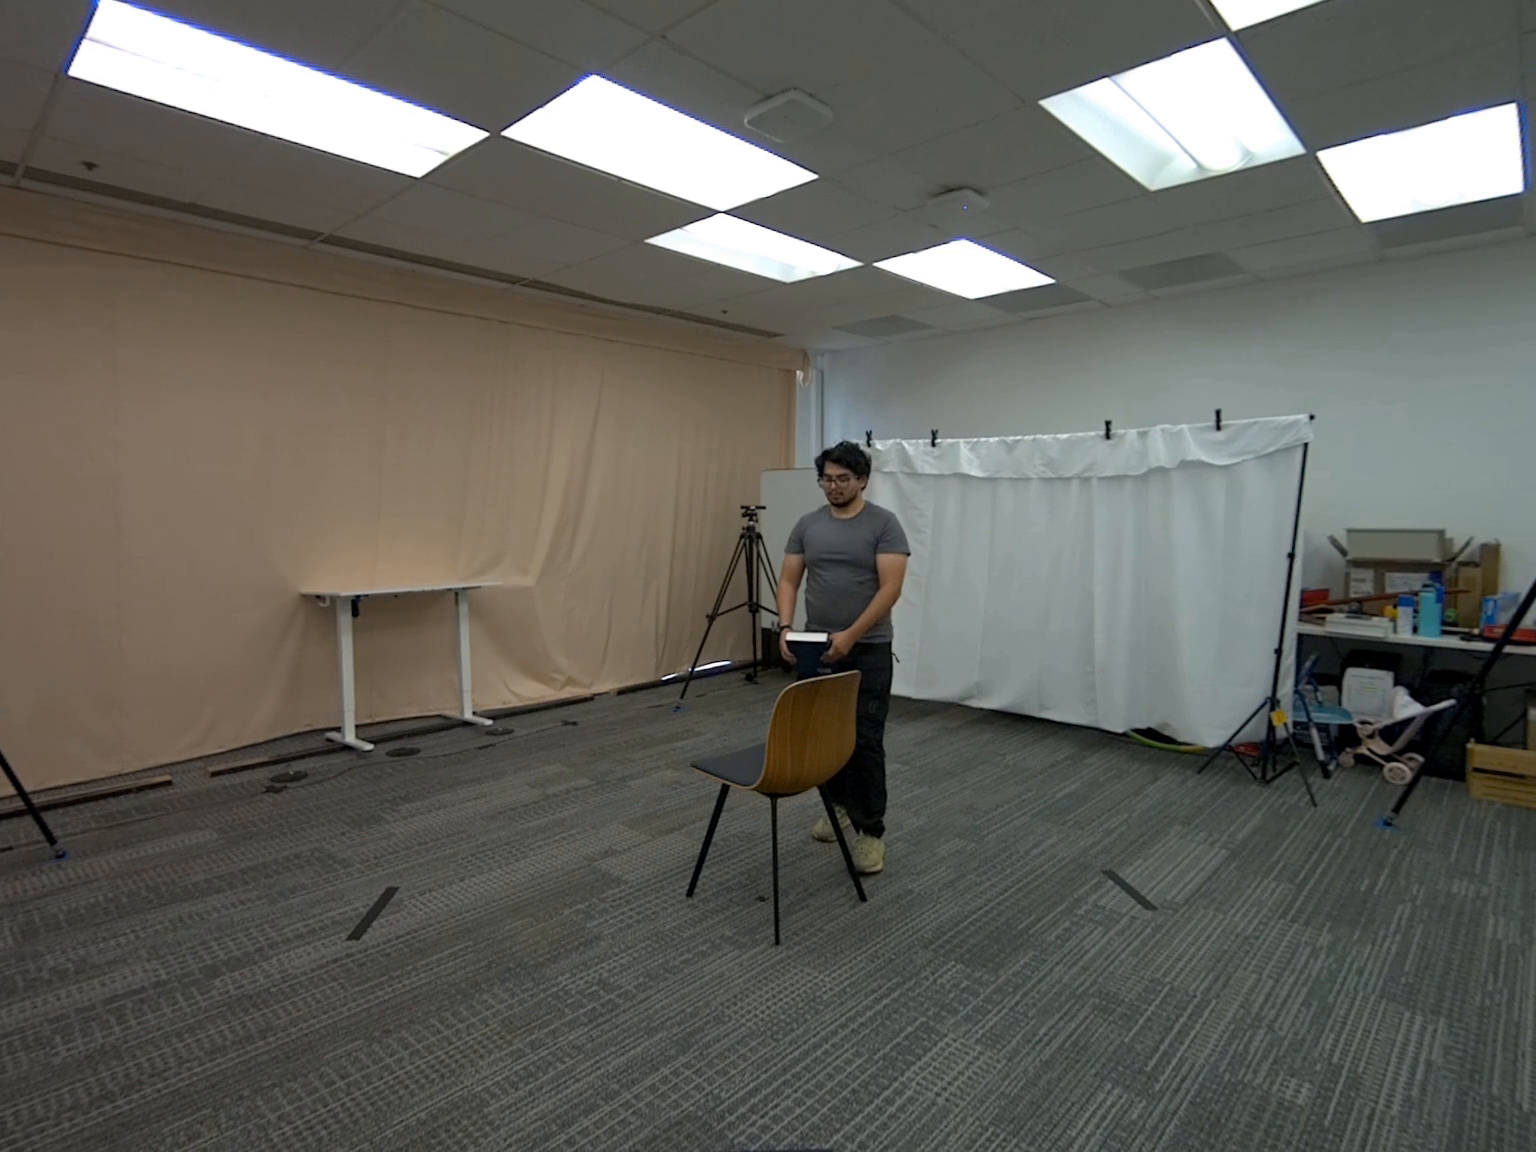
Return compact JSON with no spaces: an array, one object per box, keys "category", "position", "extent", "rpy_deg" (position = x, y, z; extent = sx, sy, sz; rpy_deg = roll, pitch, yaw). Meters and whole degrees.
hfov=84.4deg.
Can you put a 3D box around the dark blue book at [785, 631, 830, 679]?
[{"category":"dark blue book","position":[0.170,0.293,3.231],"extent":[0.166,0.045,0.238],"rpy_deg":[1,-35,18]}]
